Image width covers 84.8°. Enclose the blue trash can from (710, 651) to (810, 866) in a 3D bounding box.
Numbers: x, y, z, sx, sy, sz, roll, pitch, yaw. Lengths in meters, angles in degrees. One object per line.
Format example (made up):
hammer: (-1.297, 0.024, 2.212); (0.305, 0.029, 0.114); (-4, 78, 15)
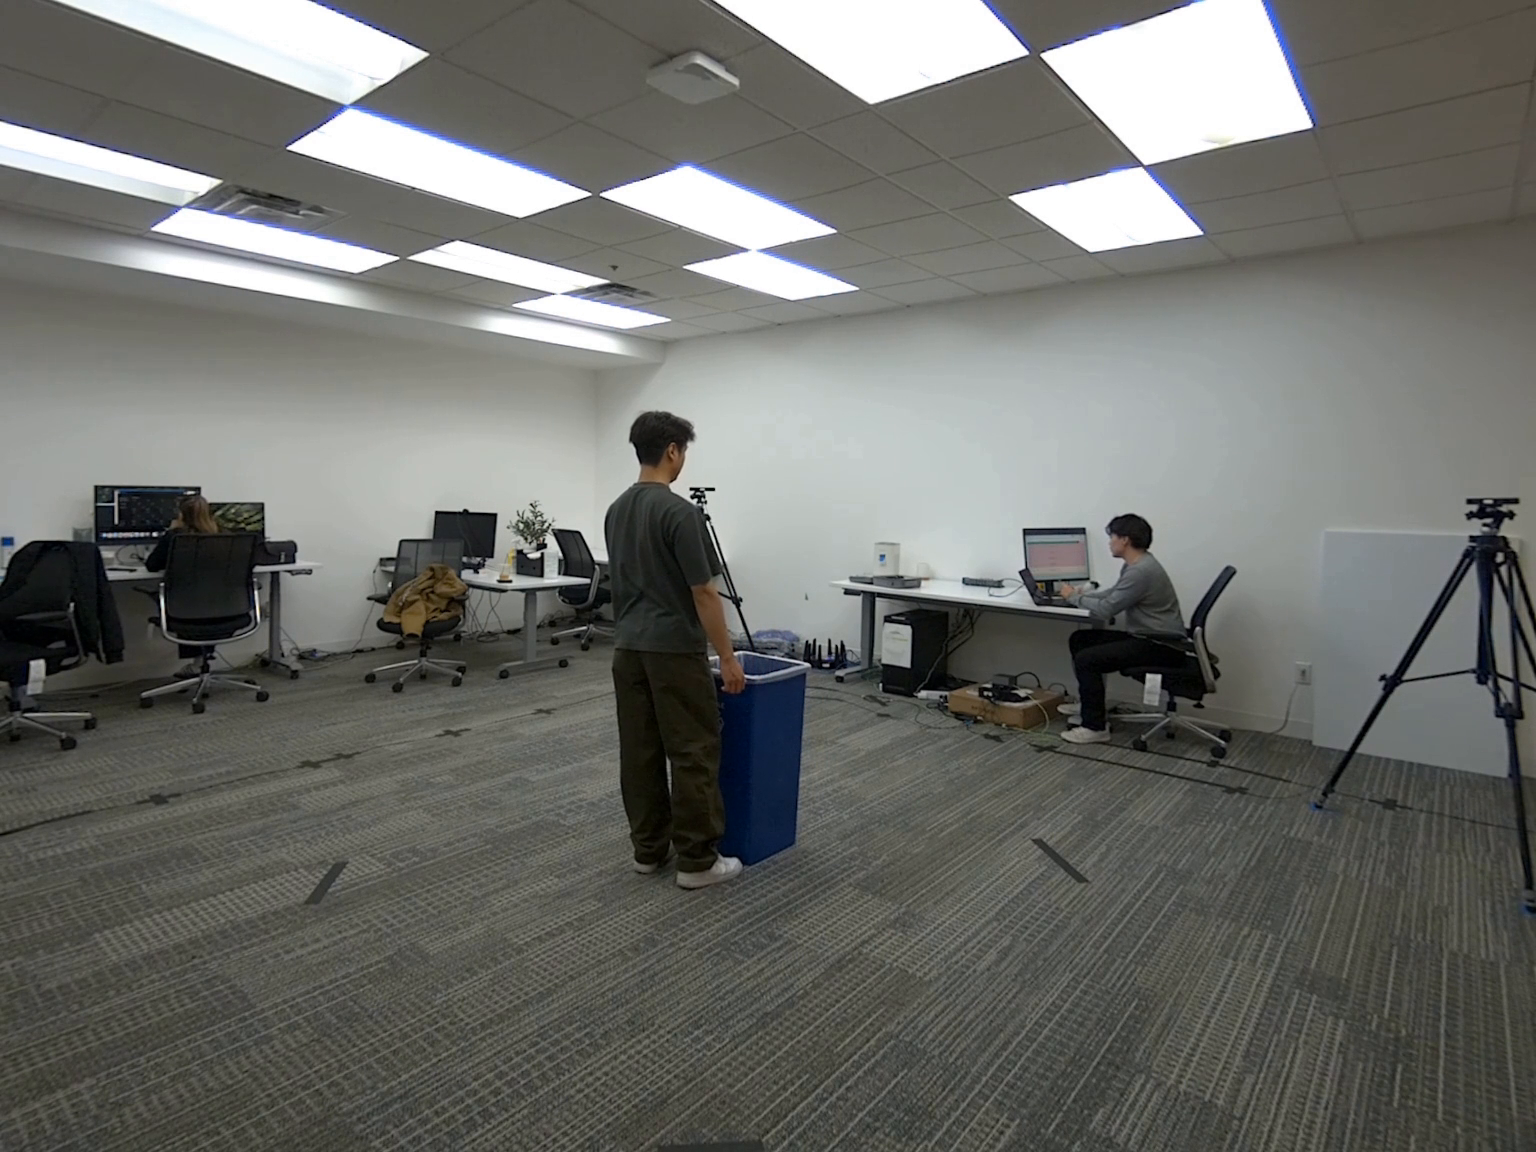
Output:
blue trash can: (-0.094, 0.690, 3.330); (0.391, 0.711, 0.363); (4, 4, 39)
